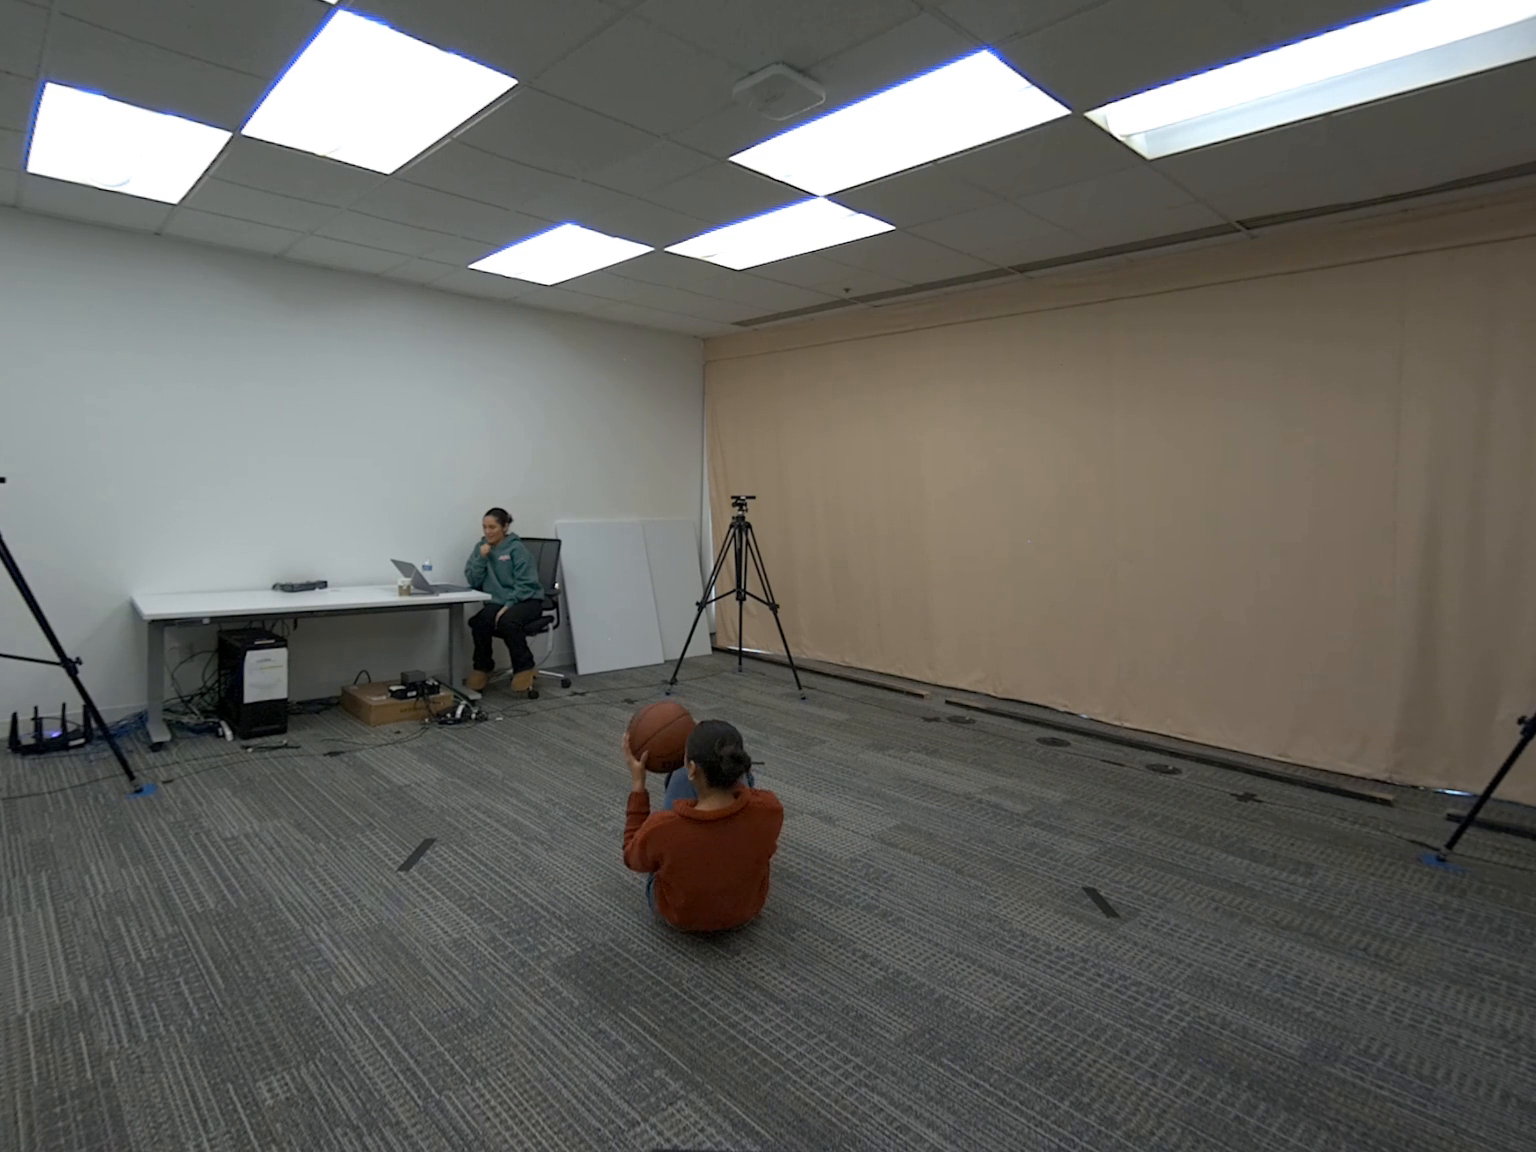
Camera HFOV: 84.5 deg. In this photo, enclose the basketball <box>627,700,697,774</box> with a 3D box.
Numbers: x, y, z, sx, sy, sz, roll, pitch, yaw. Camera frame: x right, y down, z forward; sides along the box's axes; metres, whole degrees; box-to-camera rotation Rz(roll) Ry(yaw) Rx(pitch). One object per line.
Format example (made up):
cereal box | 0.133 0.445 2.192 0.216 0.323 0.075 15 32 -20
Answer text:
basketball | -0.344 0.556 2.767 0.236 0.235 0.237 1 4 -1
